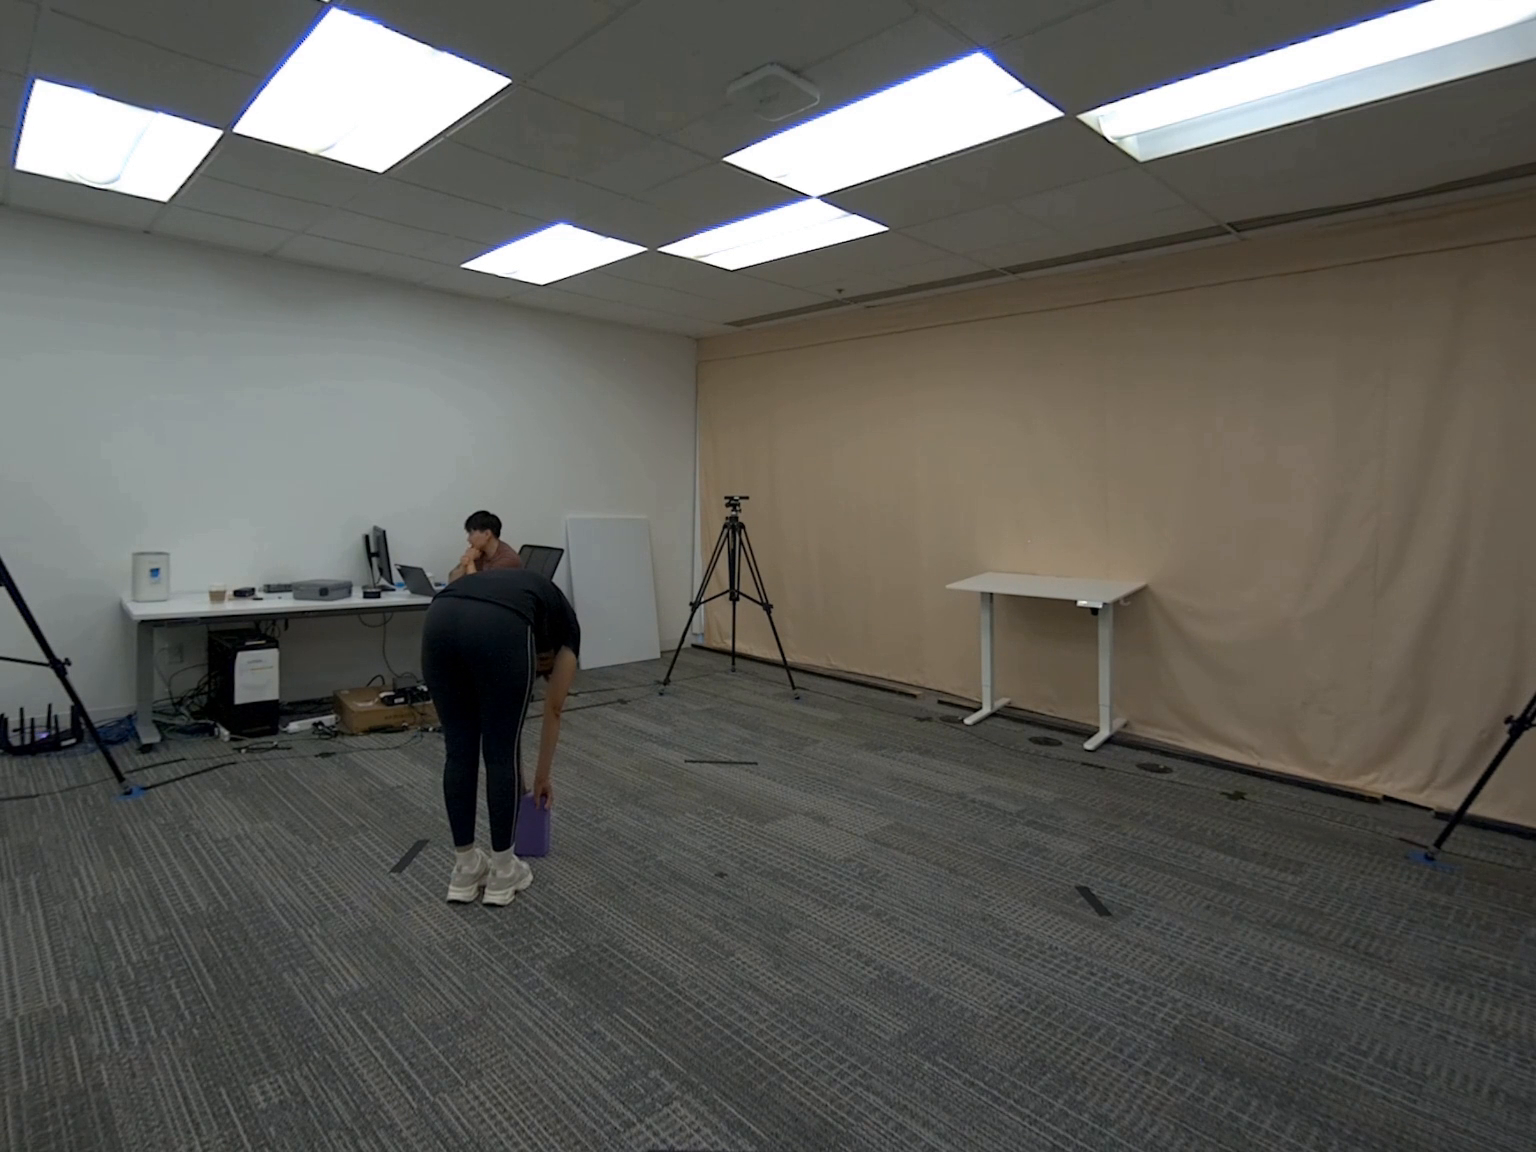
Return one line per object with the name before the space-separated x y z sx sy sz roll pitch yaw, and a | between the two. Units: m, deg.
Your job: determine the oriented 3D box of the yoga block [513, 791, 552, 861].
yoga block | -0.930 0.967 3.256 0.149 0.229 0.076 3 3 4
